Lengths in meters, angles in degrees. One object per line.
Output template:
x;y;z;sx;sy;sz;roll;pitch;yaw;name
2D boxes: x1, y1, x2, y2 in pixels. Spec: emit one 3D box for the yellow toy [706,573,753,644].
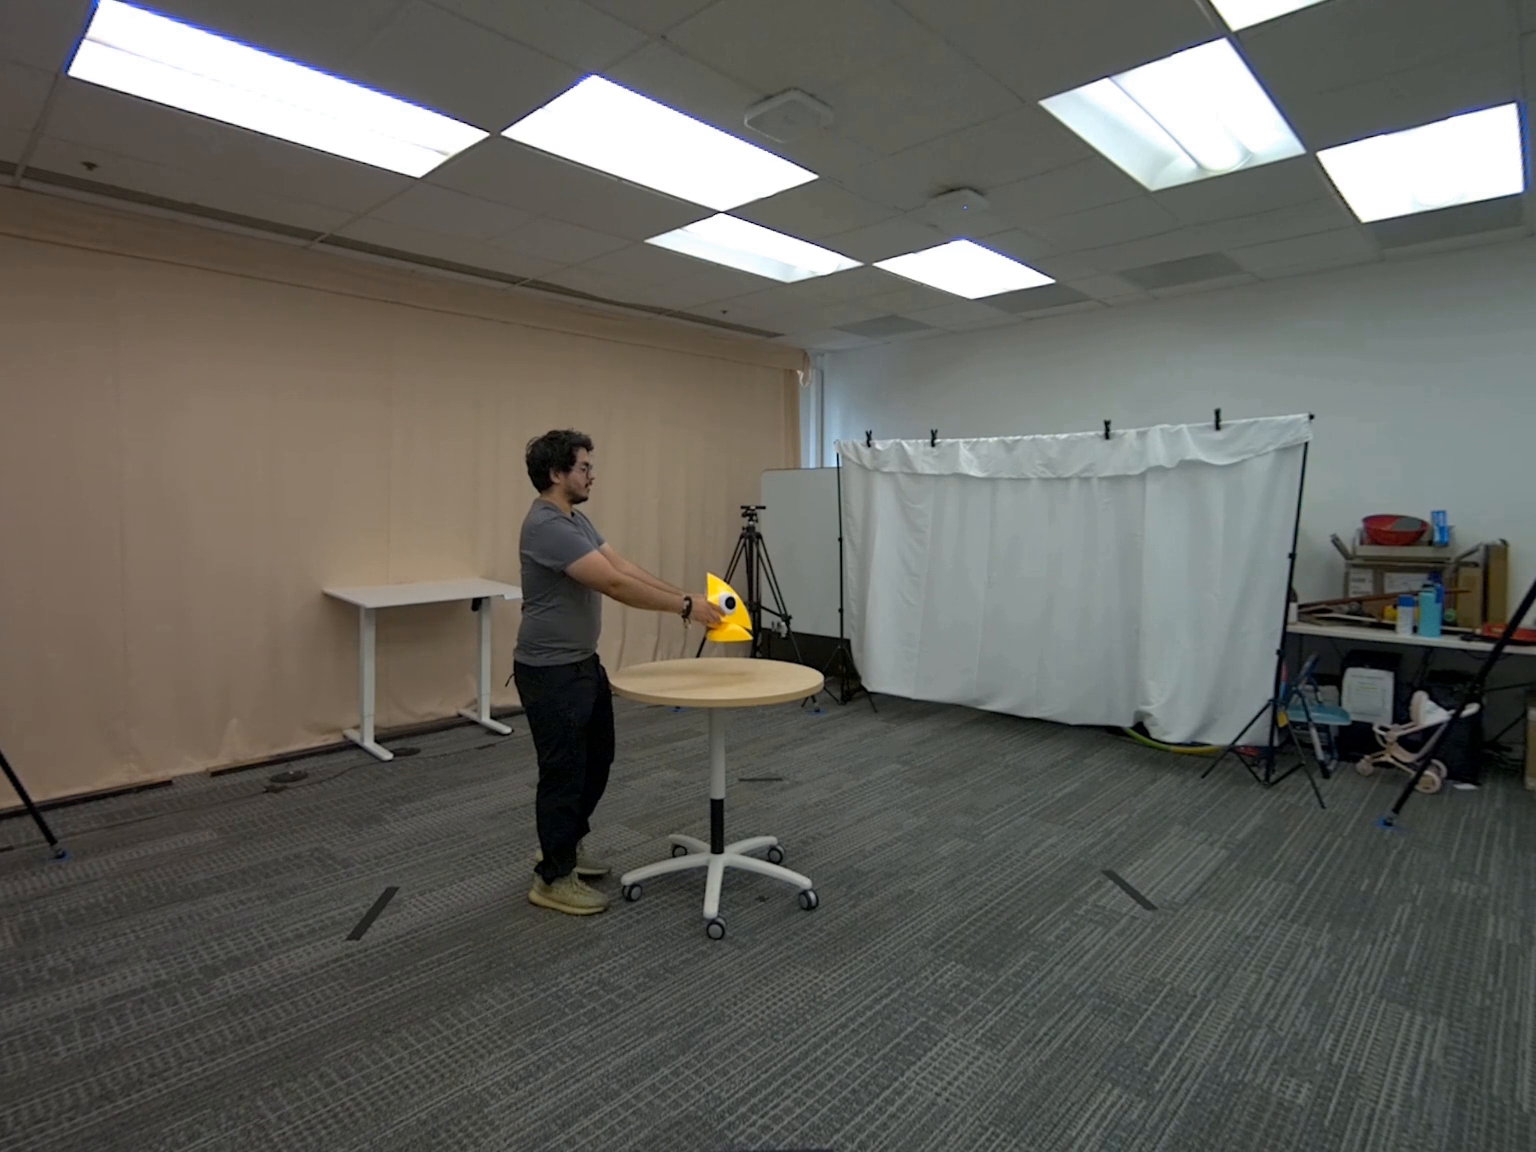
-0.151;0.106;3.004;0.192;0.230;0.207;-1;4;-7;yellow toy
